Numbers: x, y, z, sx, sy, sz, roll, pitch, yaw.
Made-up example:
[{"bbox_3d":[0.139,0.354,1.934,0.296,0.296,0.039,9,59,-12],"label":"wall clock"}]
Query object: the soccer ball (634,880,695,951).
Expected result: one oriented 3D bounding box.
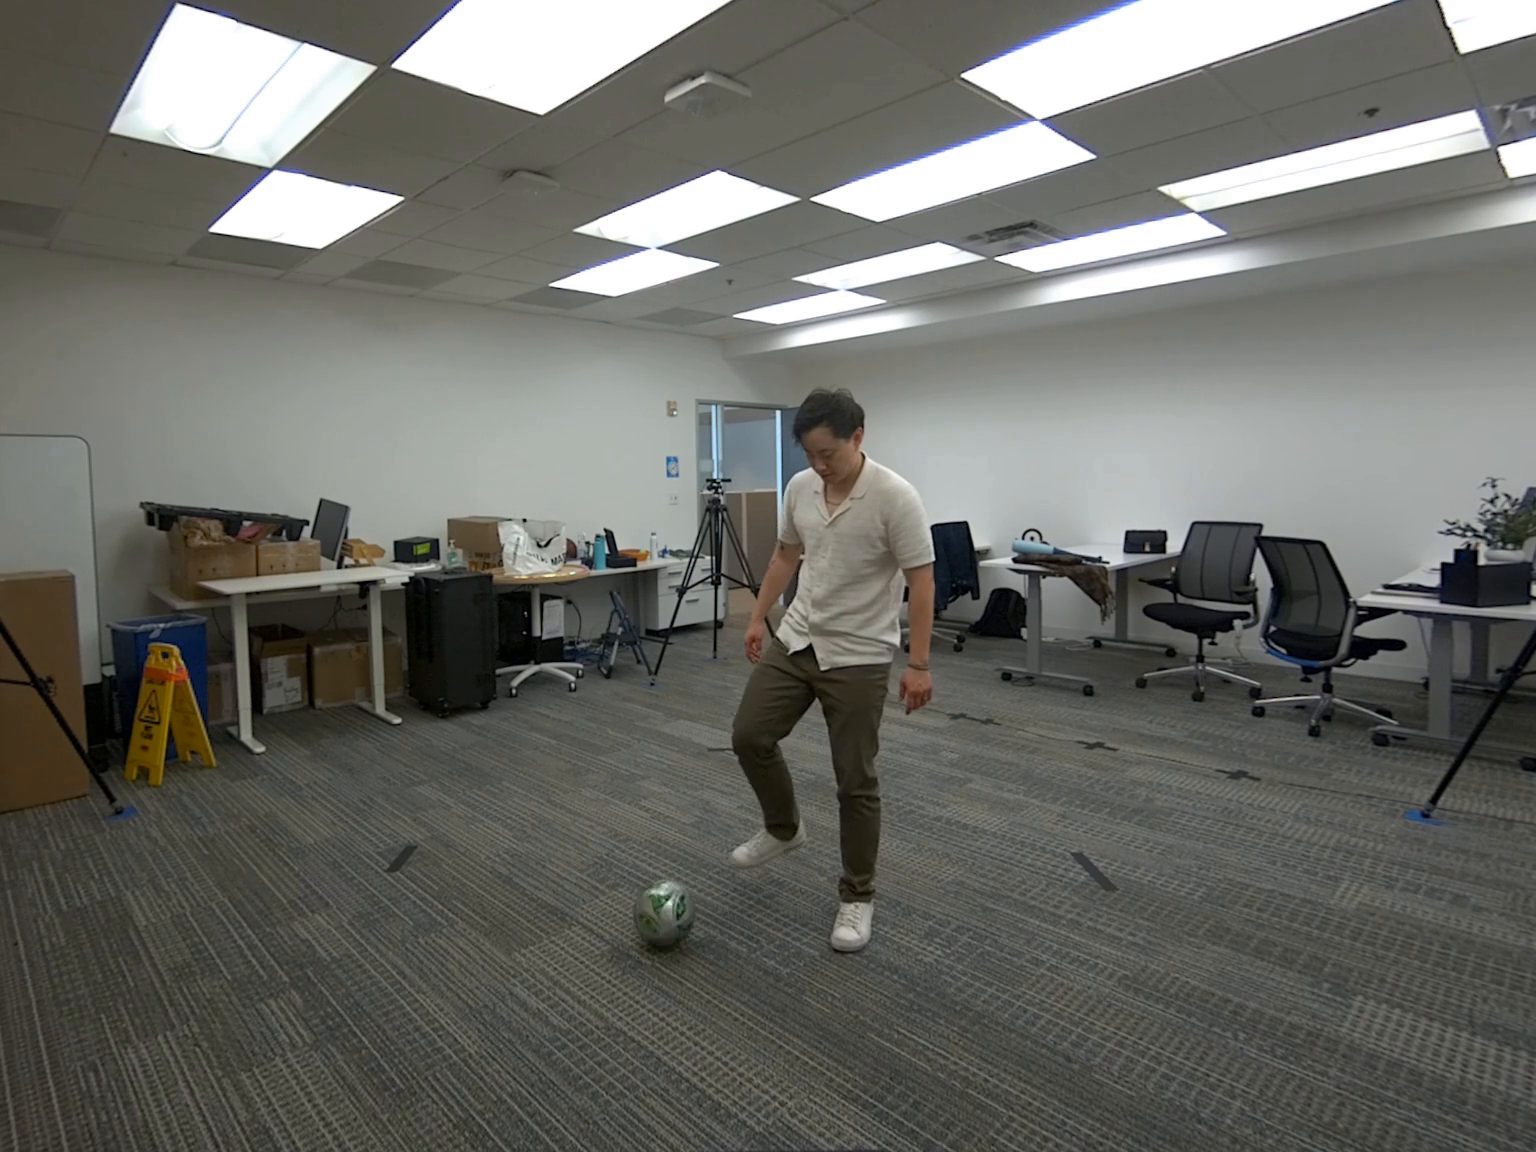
[{"bbox_3d":[-0.311,1.017,2.580,0.187,0.187,0.188,-1,5,-2],"label":"soccer ball"}]
